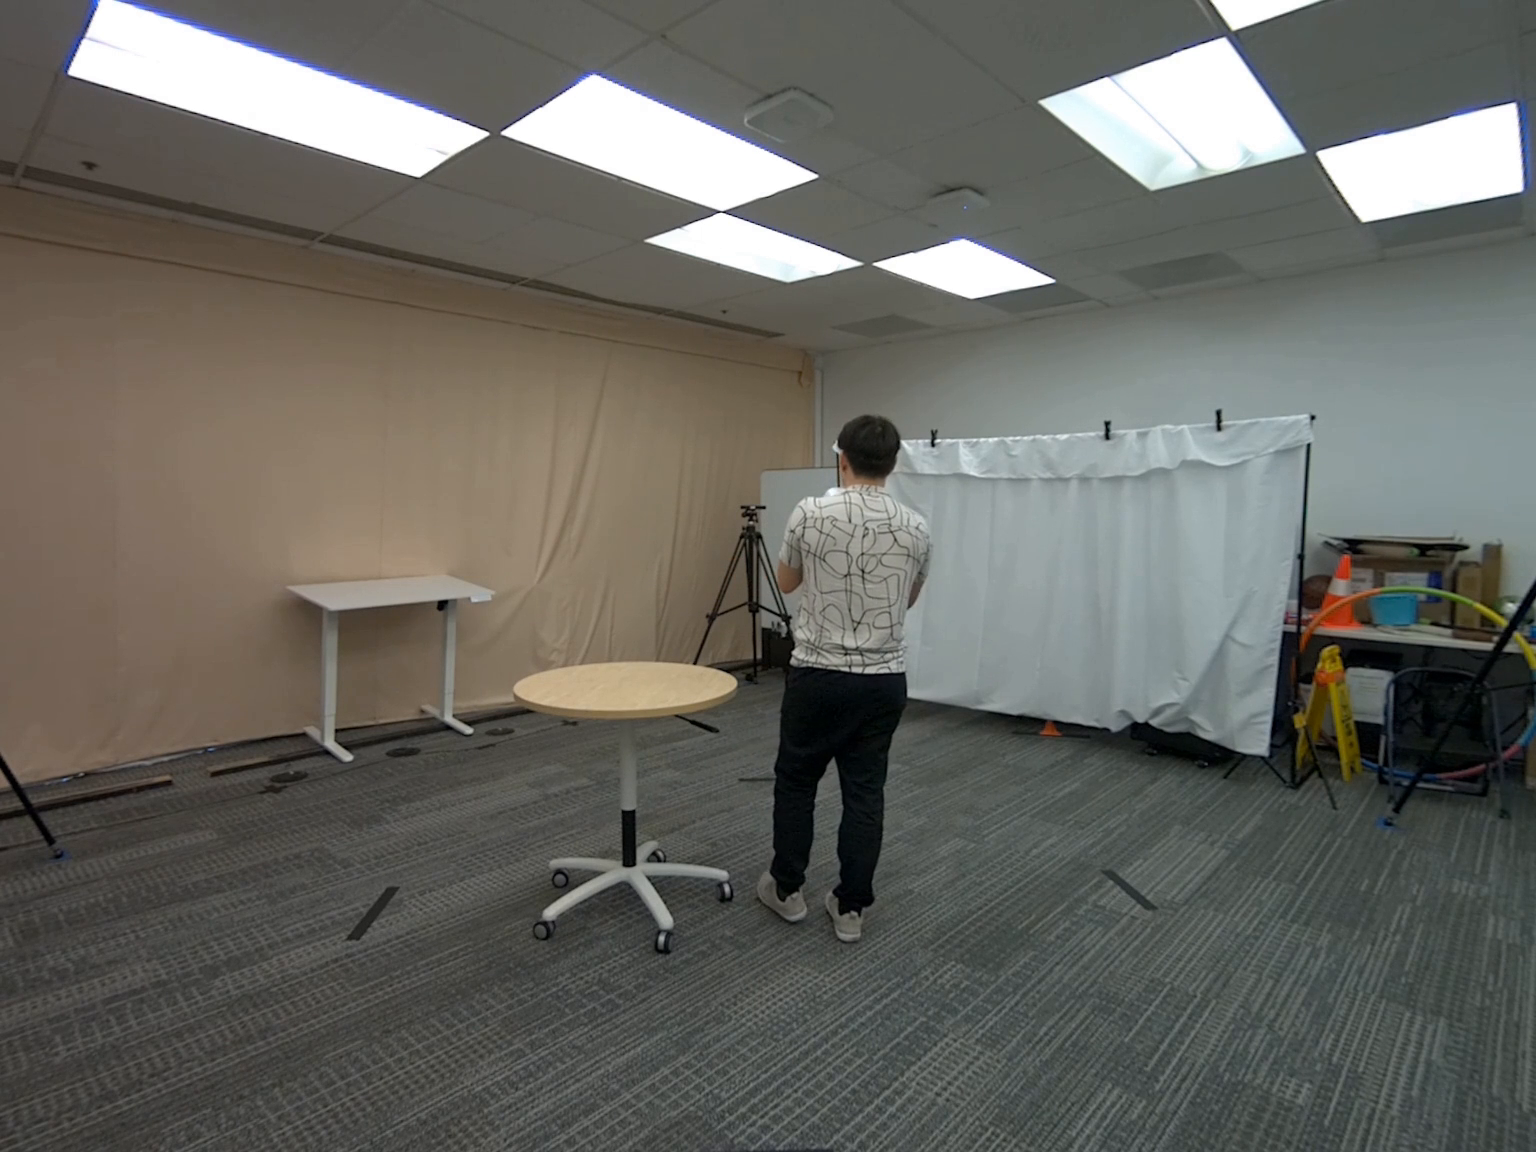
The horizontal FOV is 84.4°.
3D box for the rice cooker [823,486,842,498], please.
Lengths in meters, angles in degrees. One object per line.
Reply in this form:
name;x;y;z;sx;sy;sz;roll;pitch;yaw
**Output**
rice cooker;0.279;-0.190;3.097;0.227;0.233;0.211;41;20;28
